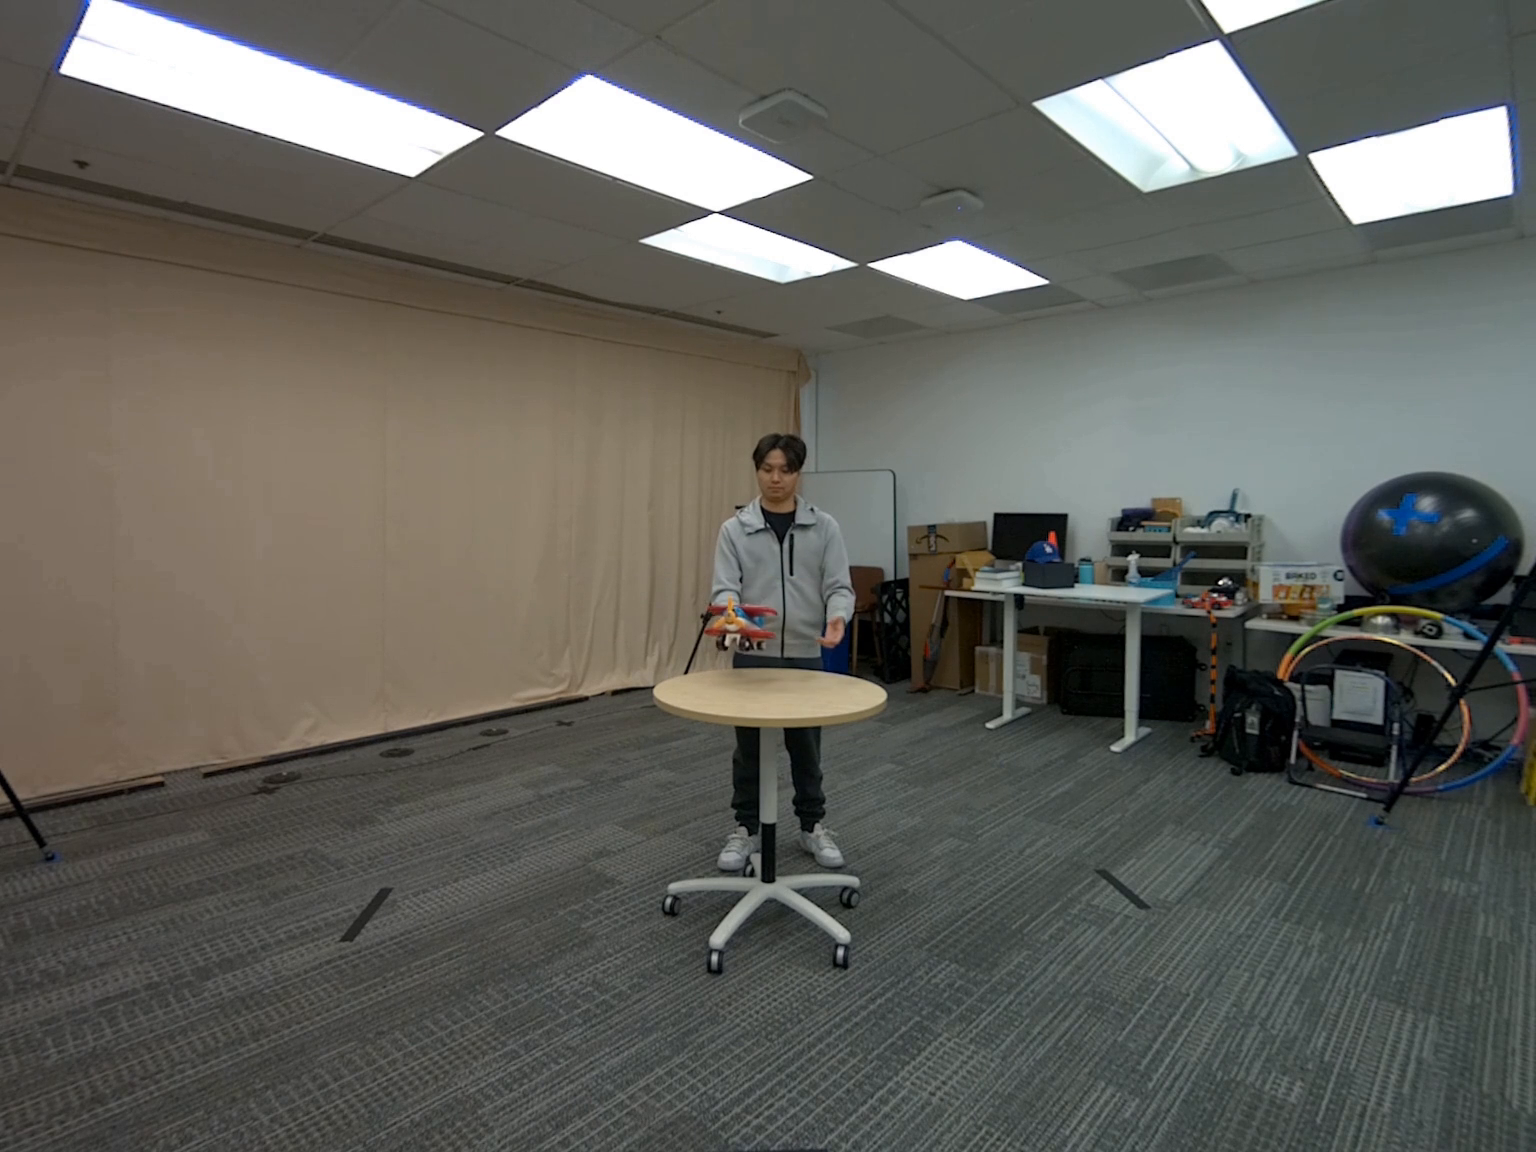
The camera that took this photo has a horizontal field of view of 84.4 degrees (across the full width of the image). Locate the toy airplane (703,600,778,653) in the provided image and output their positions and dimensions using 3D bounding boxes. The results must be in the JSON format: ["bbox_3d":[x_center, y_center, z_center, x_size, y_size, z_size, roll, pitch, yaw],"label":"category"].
[{"bbox_3d":[-0.090,0.171,2.907,0.251,0.157,0.258,0,-5,-1],"label":"toy airplane"}]
